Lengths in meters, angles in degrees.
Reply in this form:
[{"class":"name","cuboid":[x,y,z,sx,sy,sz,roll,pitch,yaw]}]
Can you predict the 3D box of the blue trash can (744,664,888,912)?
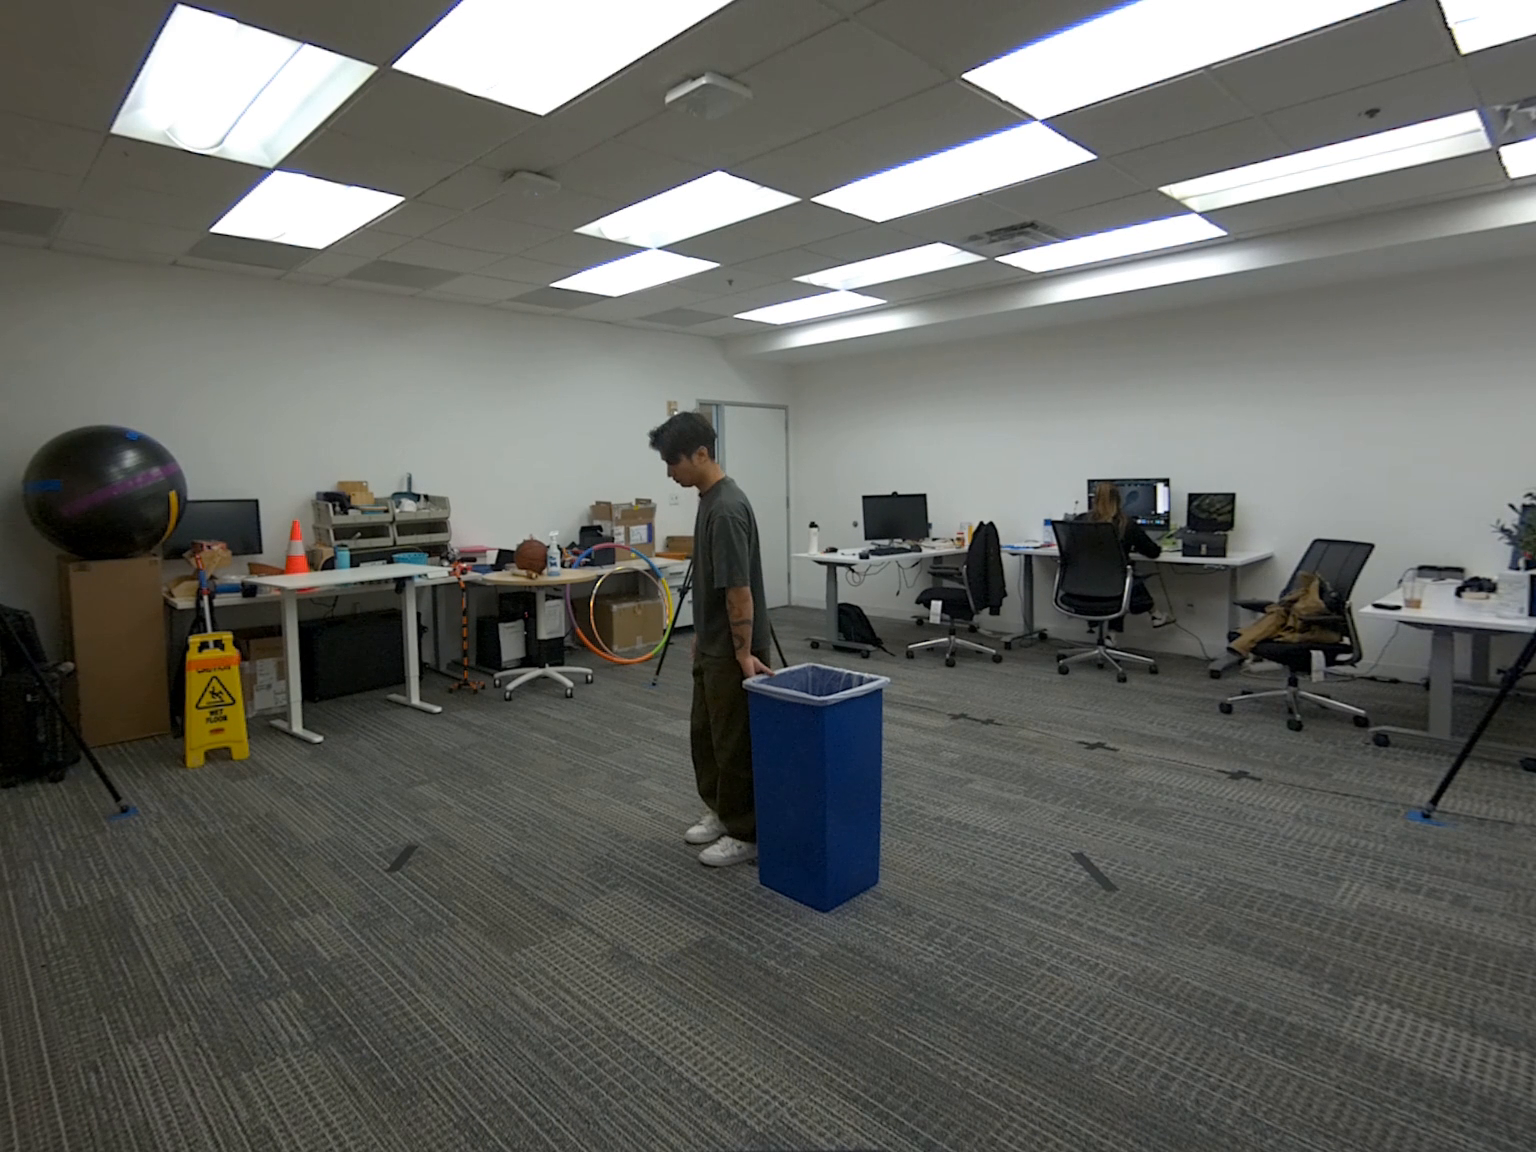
[{"class":"blue trash can","cuboid":[0.173,0.705,2.913,0.389,0.711,0.364,3,5,43]}]
